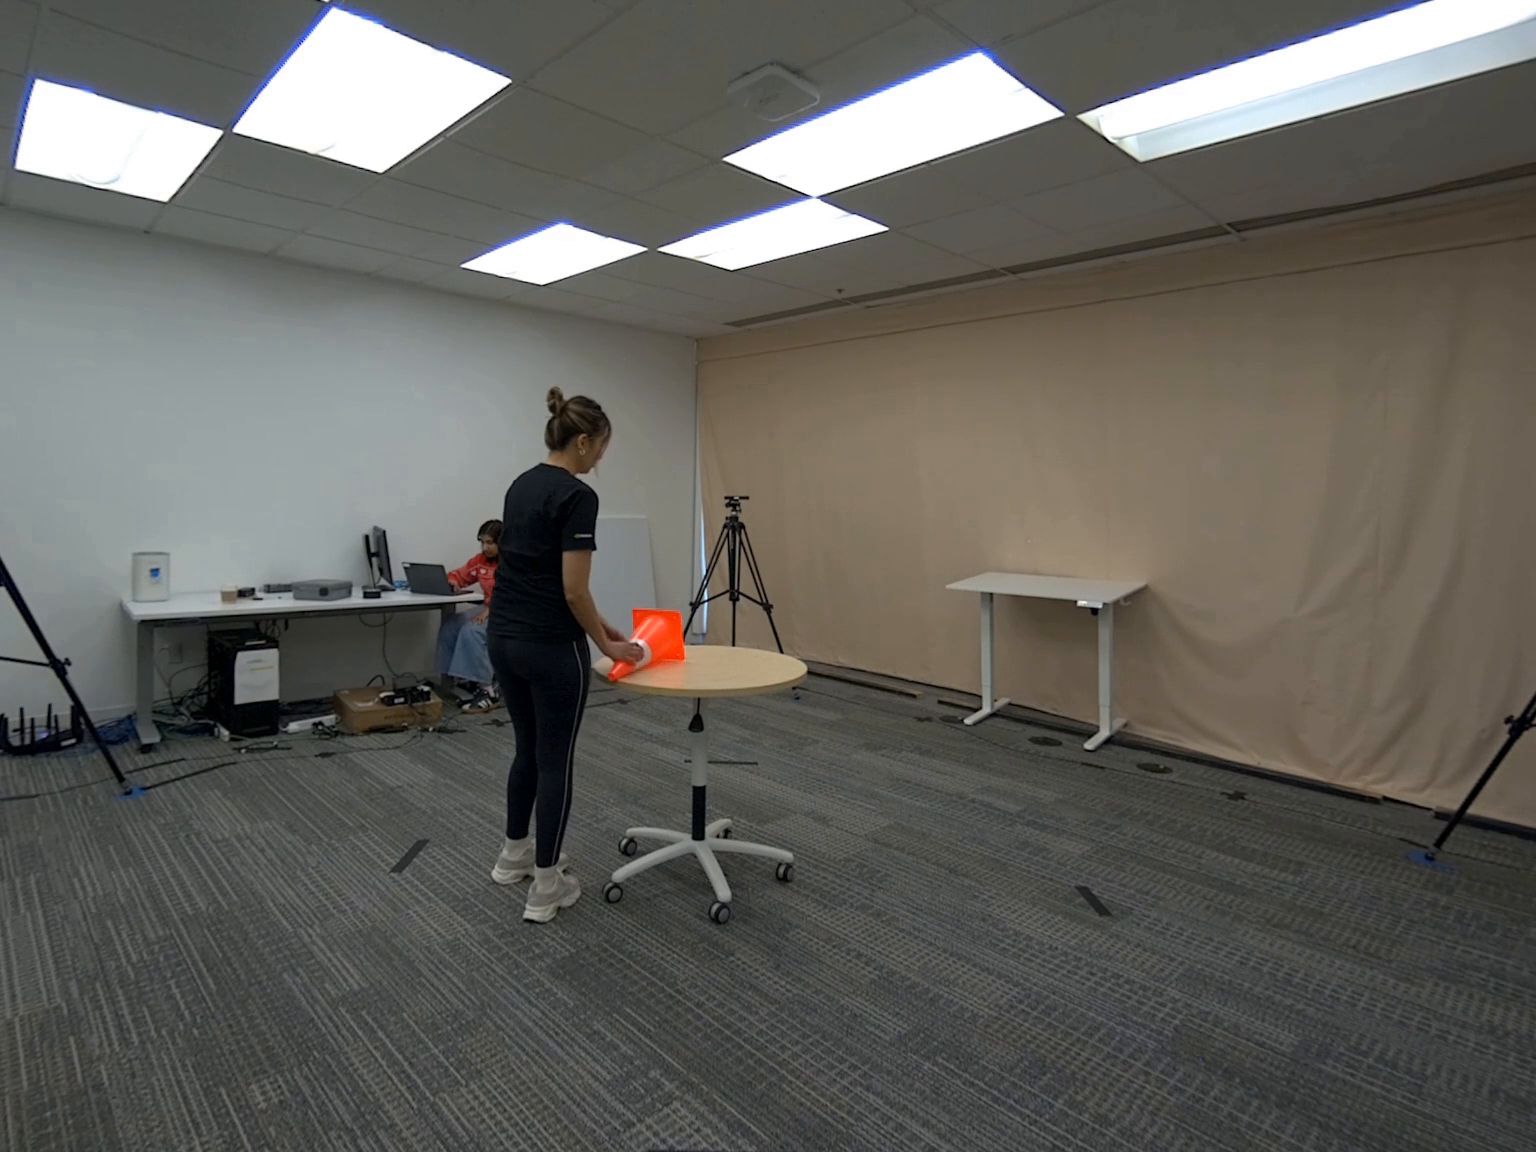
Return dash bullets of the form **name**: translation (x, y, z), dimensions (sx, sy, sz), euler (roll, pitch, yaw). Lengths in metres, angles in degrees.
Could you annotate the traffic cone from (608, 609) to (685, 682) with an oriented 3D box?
- **traffic cone**: translation (-0.462, 0.281, 2.932), dimensions (0.207, 0.200, 0.384), euler (4, 20, 14)
